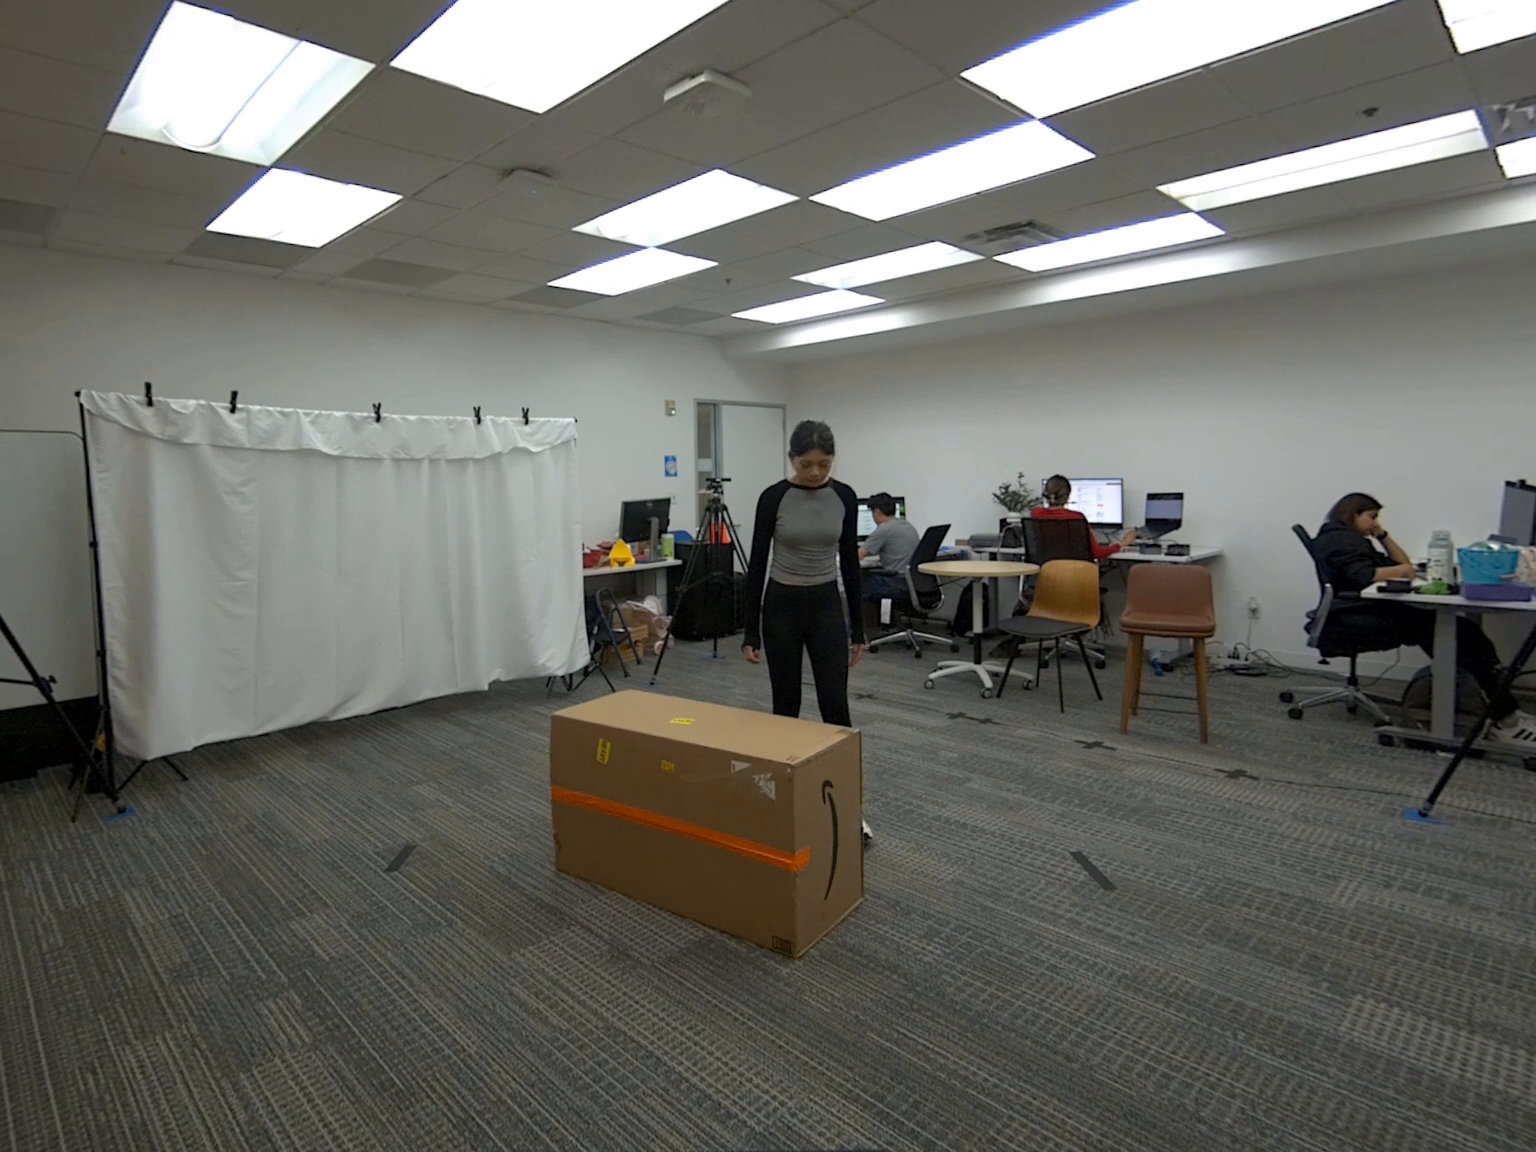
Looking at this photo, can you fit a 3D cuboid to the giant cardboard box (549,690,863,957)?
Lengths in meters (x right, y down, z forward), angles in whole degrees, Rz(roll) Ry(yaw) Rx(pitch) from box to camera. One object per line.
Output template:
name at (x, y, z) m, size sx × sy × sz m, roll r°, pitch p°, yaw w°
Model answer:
giant cardboard box at (-0.233, 0.780, 2.925) m, size 1.056 × 0.576 × 0.415 m, roll 3°, pitch 5°, yaw 36°
